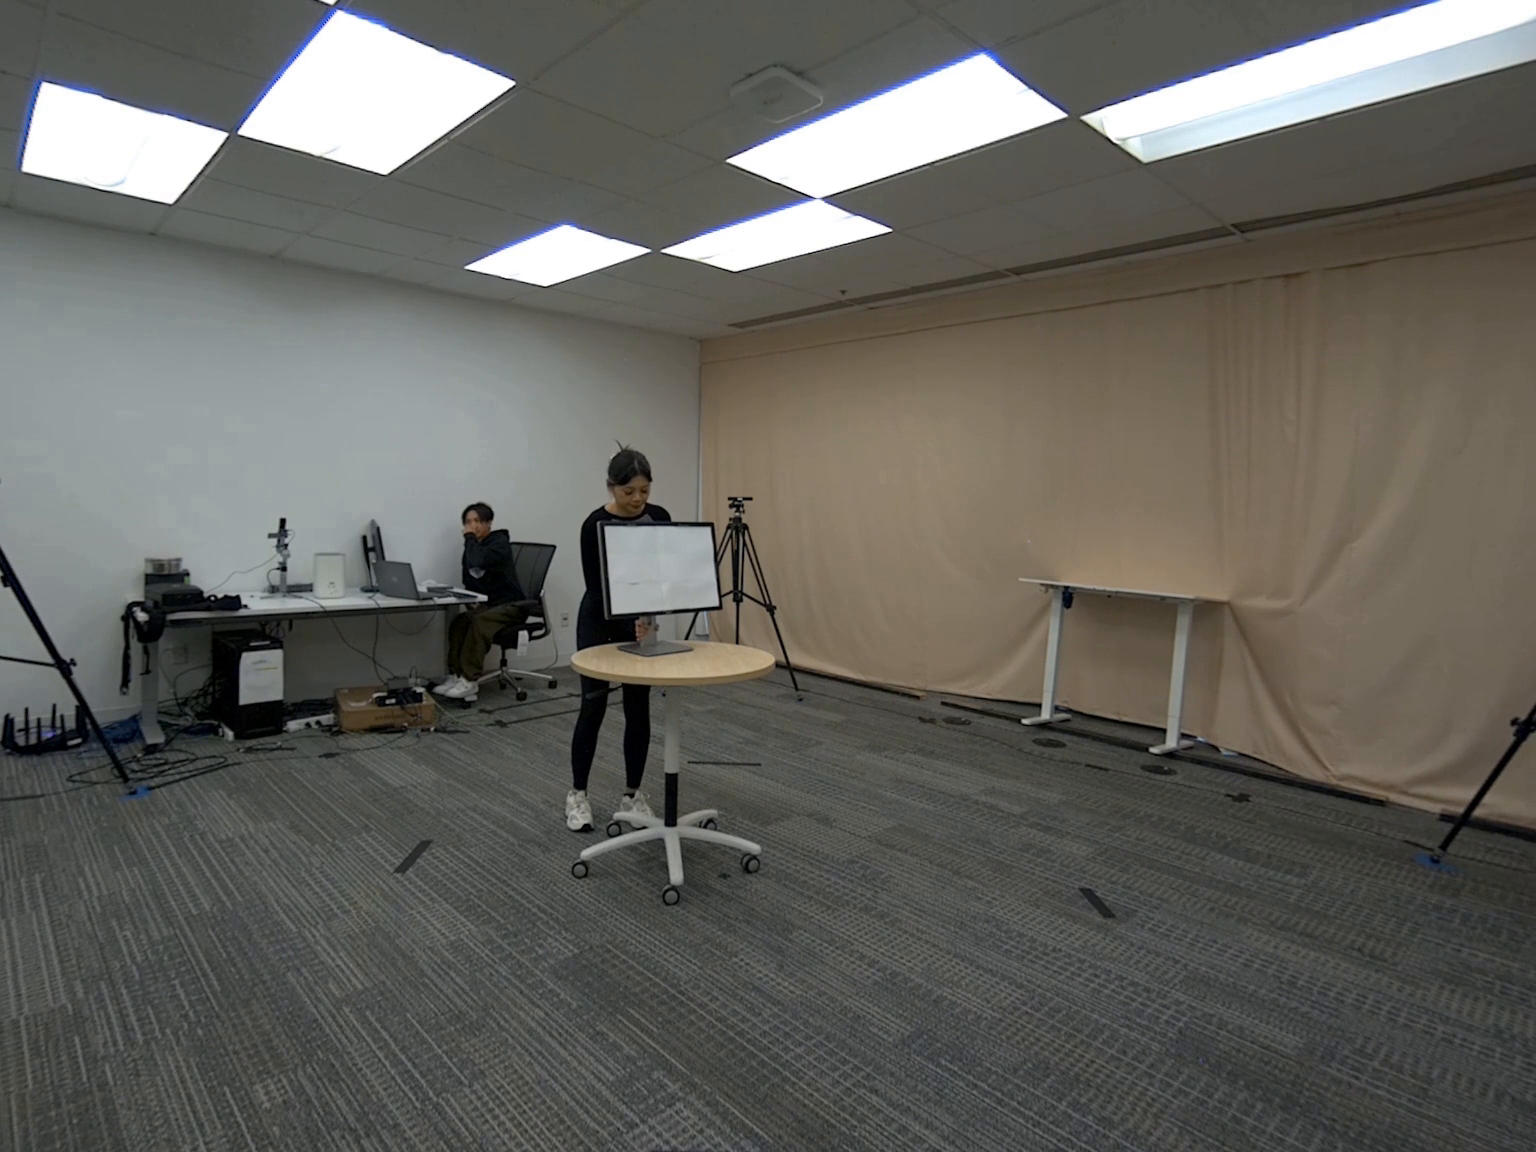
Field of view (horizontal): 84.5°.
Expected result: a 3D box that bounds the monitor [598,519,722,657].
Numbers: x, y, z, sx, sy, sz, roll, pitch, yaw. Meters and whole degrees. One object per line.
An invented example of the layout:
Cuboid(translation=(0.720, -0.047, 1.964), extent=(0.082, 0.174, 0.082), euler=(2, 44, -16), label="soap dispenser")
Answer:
Cuboid(translation=(-0.449, 0.049, 3.312), extent=(0.192, 0.520, 0.527), euler=(9, 8, 44), label="monitor")
